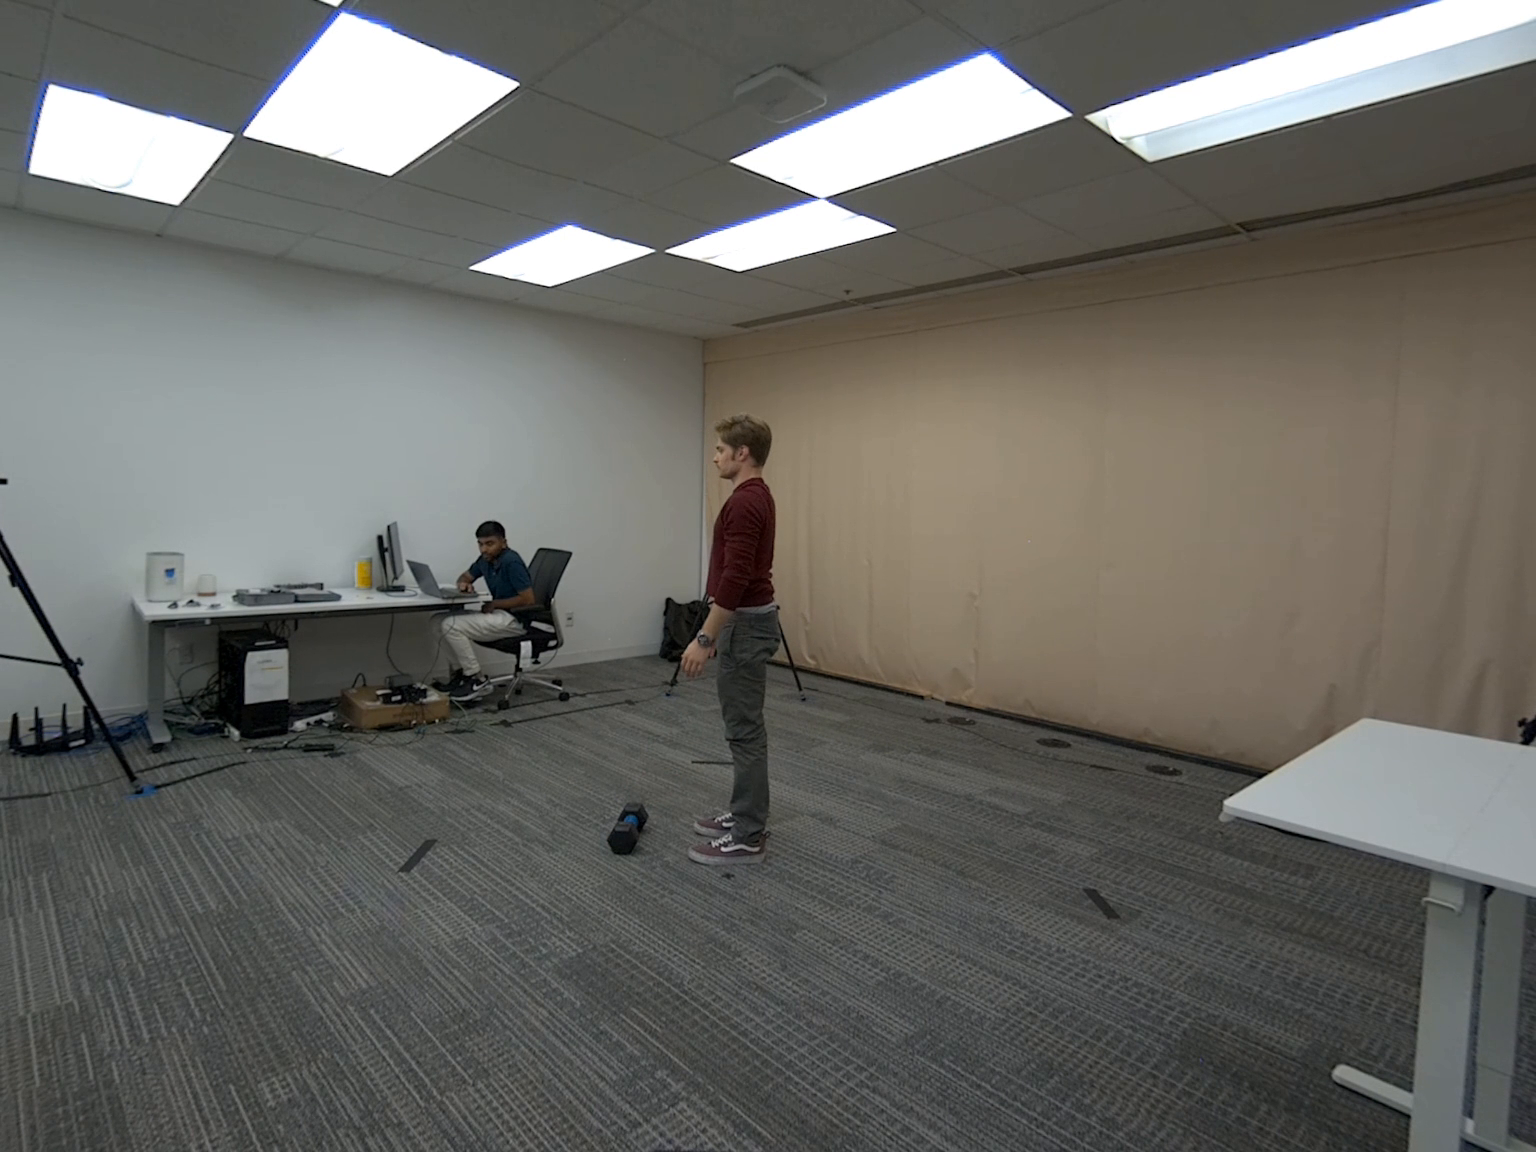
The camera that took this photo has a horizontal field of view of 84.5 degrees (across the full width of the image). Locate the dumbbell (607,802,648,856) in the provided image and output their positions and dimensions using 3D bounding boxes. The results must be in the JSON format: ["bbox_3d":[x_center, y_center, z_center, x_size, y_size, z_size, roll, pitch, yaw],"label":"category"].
[{"bbox_3d":[-0.574,1.022,3.398,0.123,0.108,0.294,1,5,2],"label":"dumbbell"}]
